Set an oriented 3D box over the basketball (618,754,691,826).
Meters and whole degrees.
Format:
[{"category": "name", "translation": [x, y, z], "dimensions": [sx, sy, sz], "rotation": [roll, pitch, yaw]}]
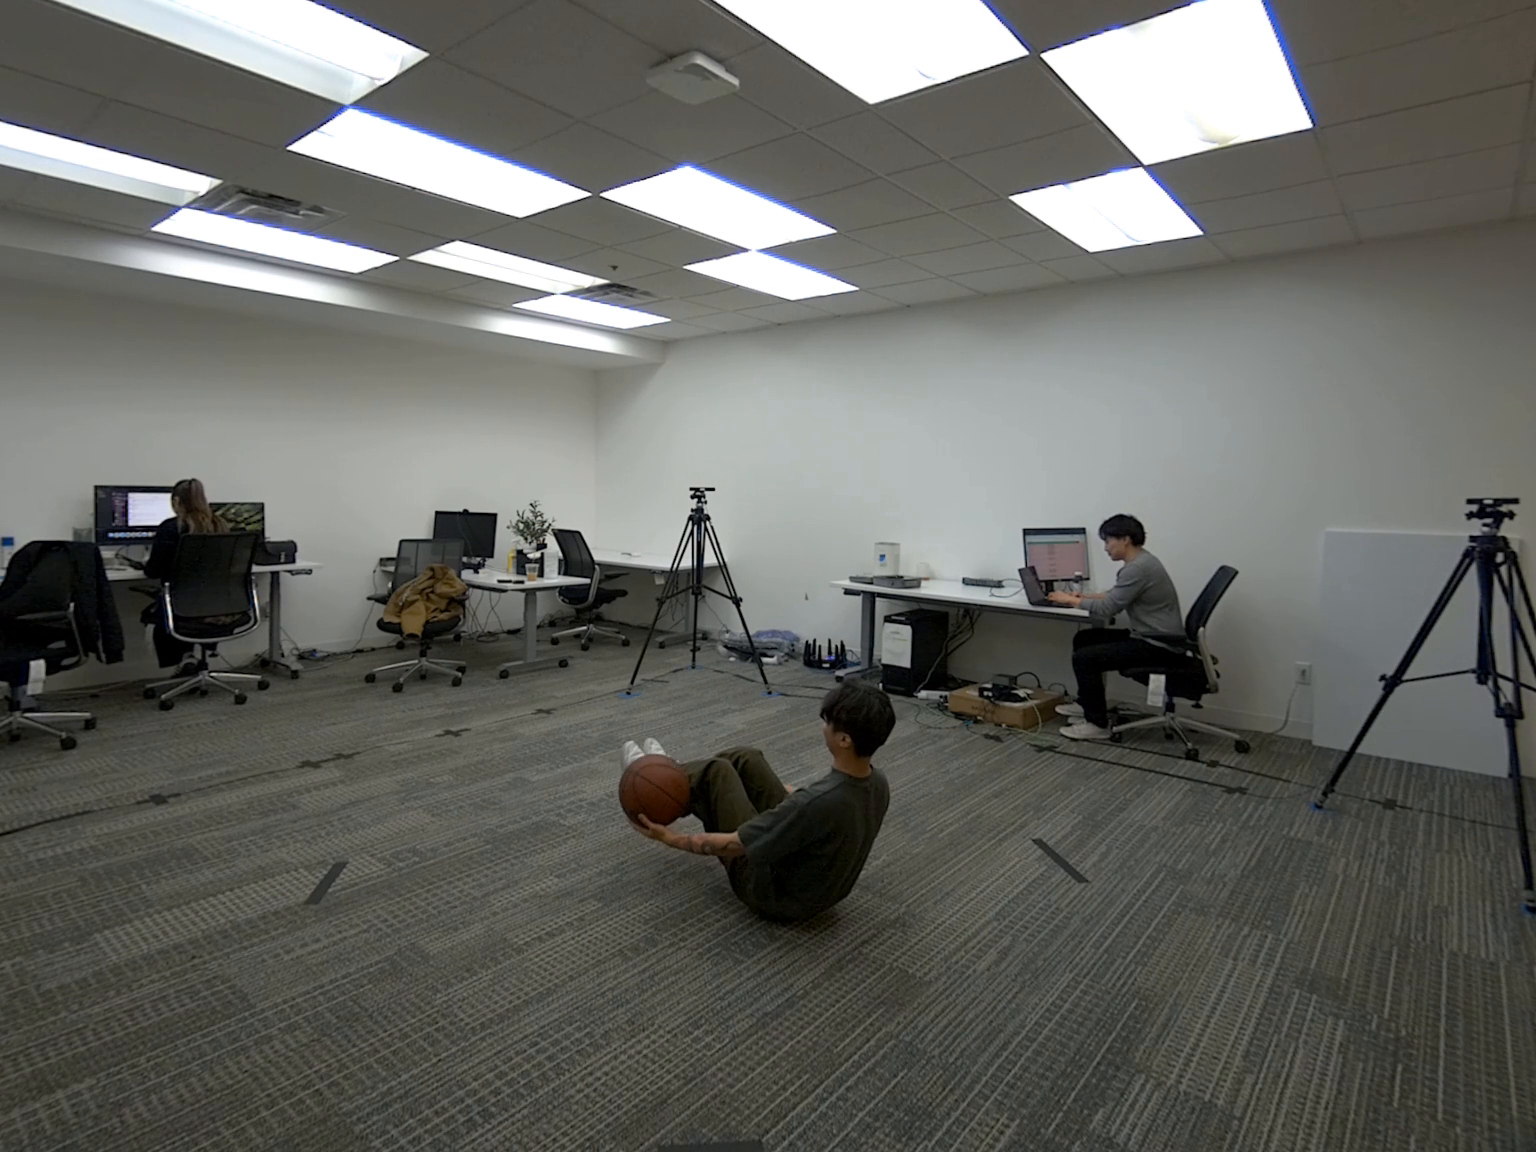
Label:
[{"category": "basketball", "translation": [-0.378, 0.710, 2.850], "dimensions": [0.235, 0.235, 0.237], "rotation": [1, 4, -2]}]
